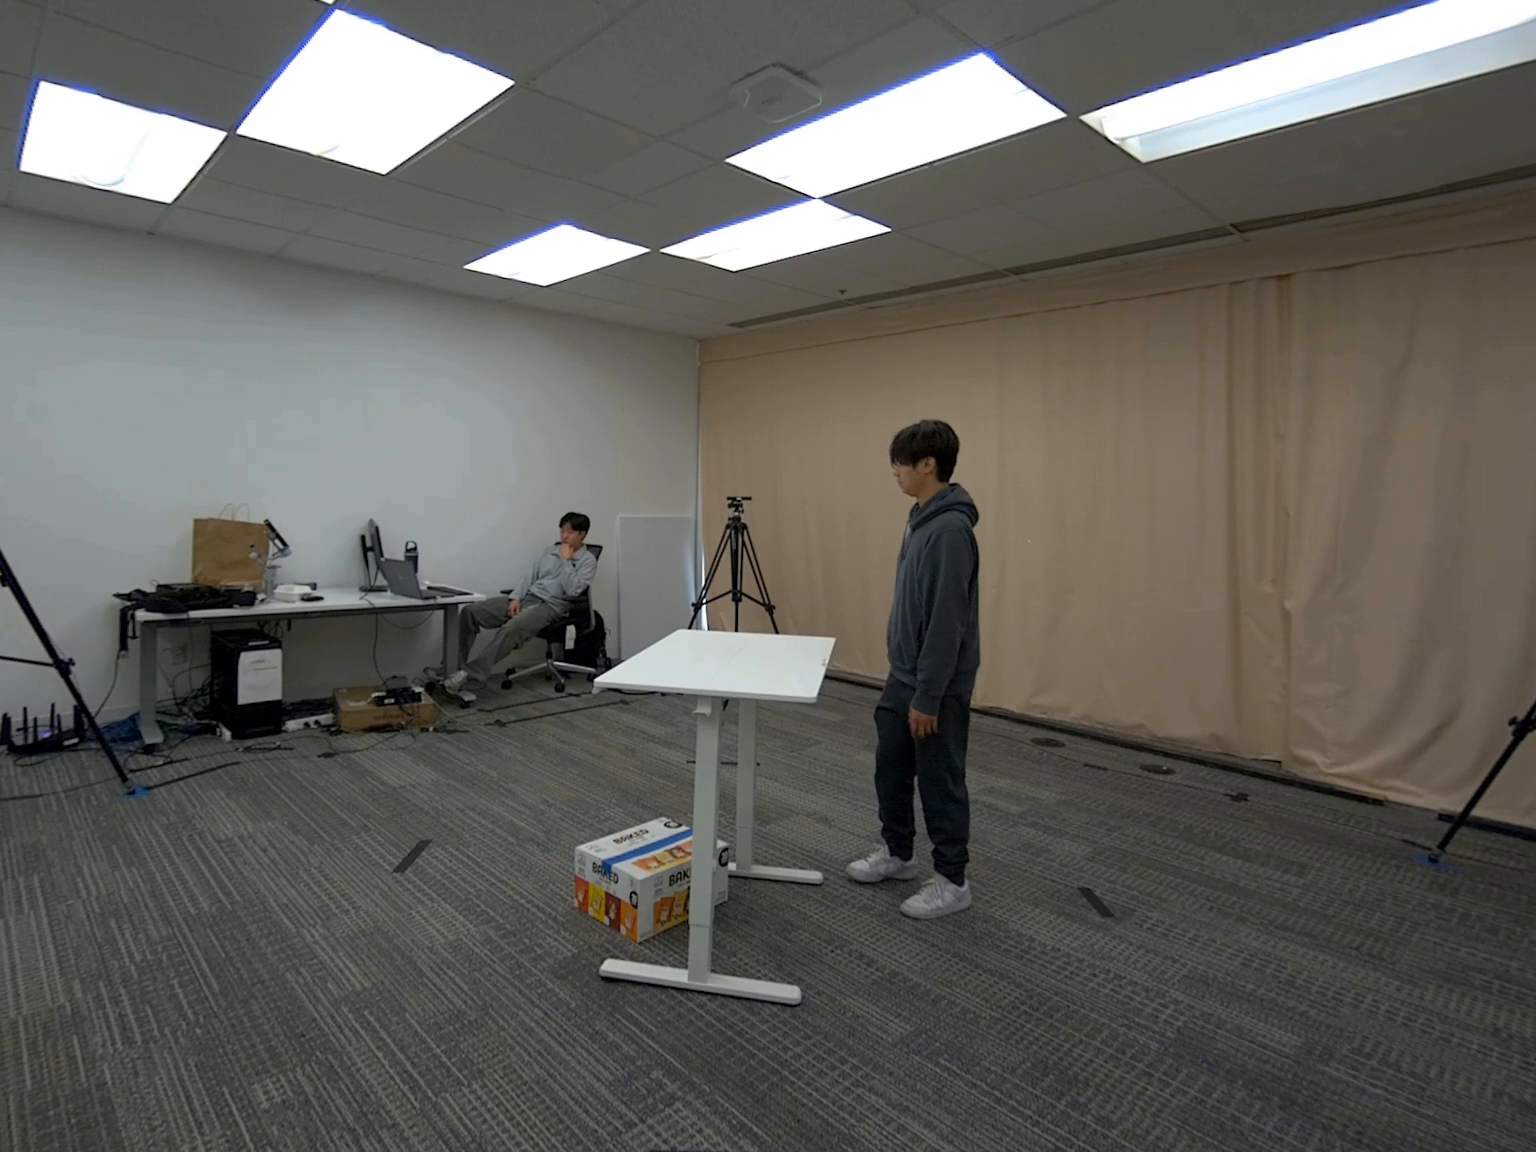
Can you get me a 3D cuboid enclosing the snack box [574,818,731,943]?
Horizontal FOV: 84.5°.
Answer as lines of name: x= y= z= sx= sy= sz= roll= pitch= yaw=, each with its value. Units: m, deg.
snack box: x=-0.400 y=1.018 z=2.869 sx=0.349 sy=0.205 sz=0.396 roll=6 pitch=7 yaw=42
